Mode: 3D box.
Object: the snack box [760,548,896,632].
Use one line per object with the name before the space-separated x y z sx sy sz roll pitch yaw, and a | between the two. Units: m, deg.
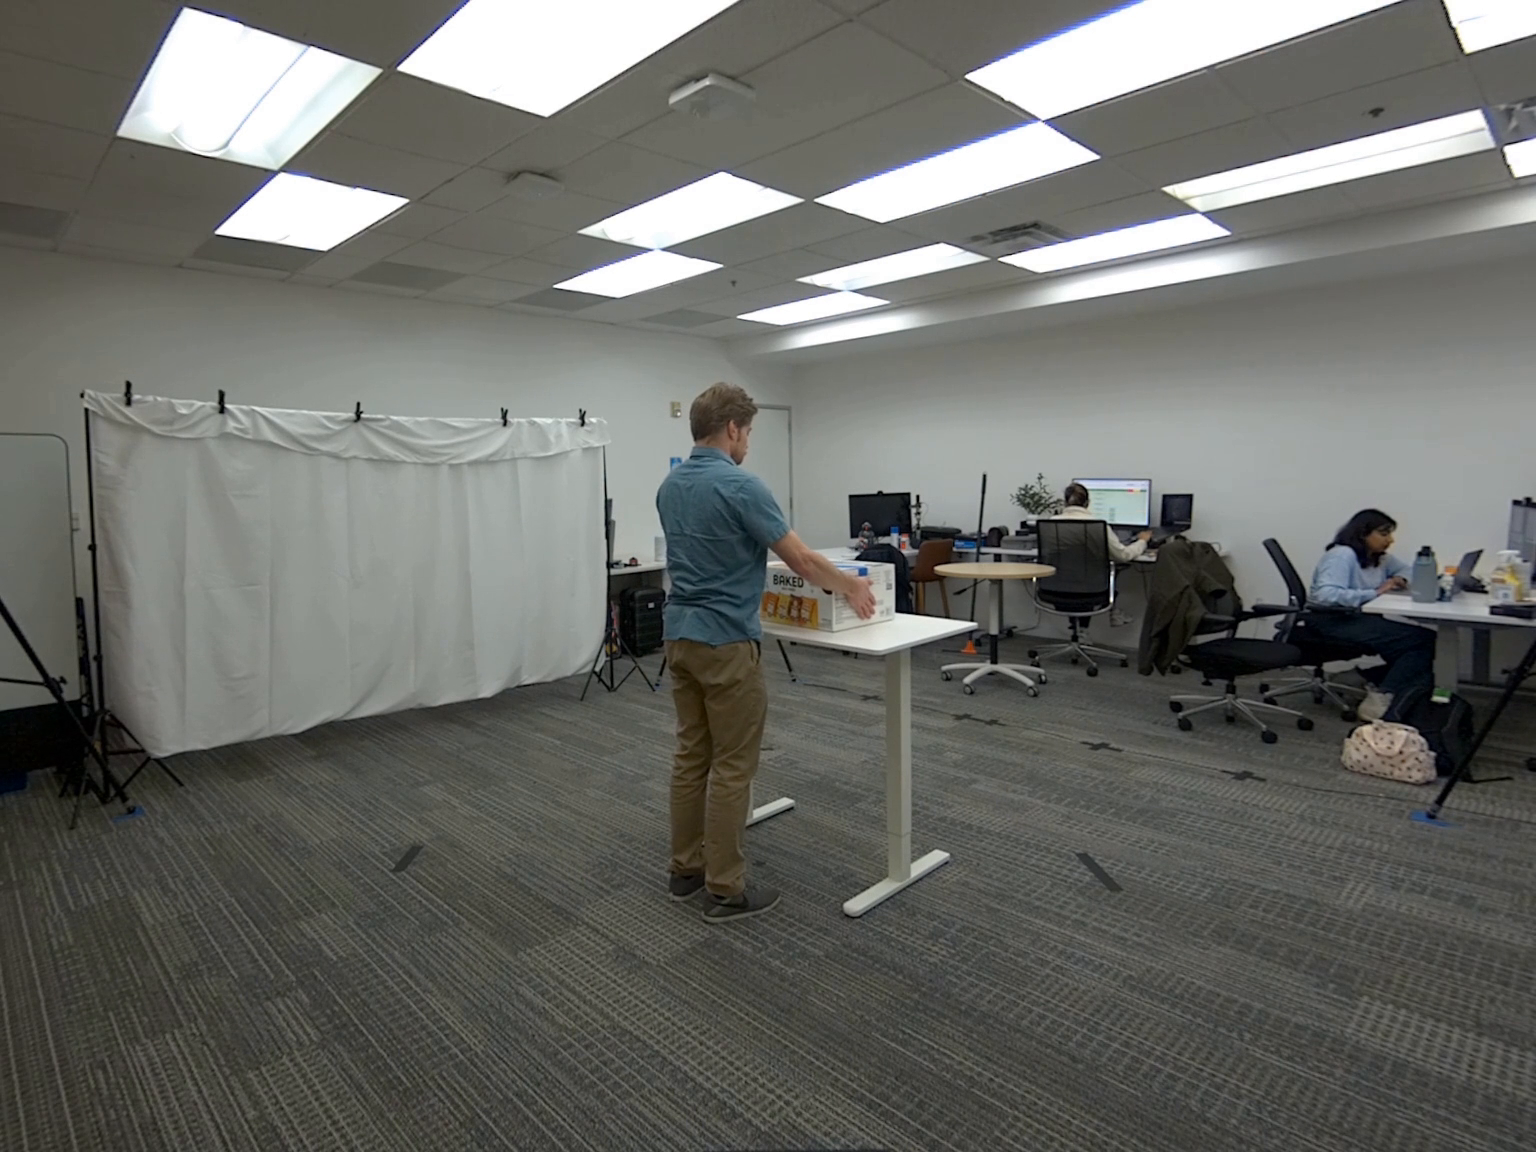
snack box | 0.192 0.057 3.112 0.332 0.205 0.418 -8 9 -43
